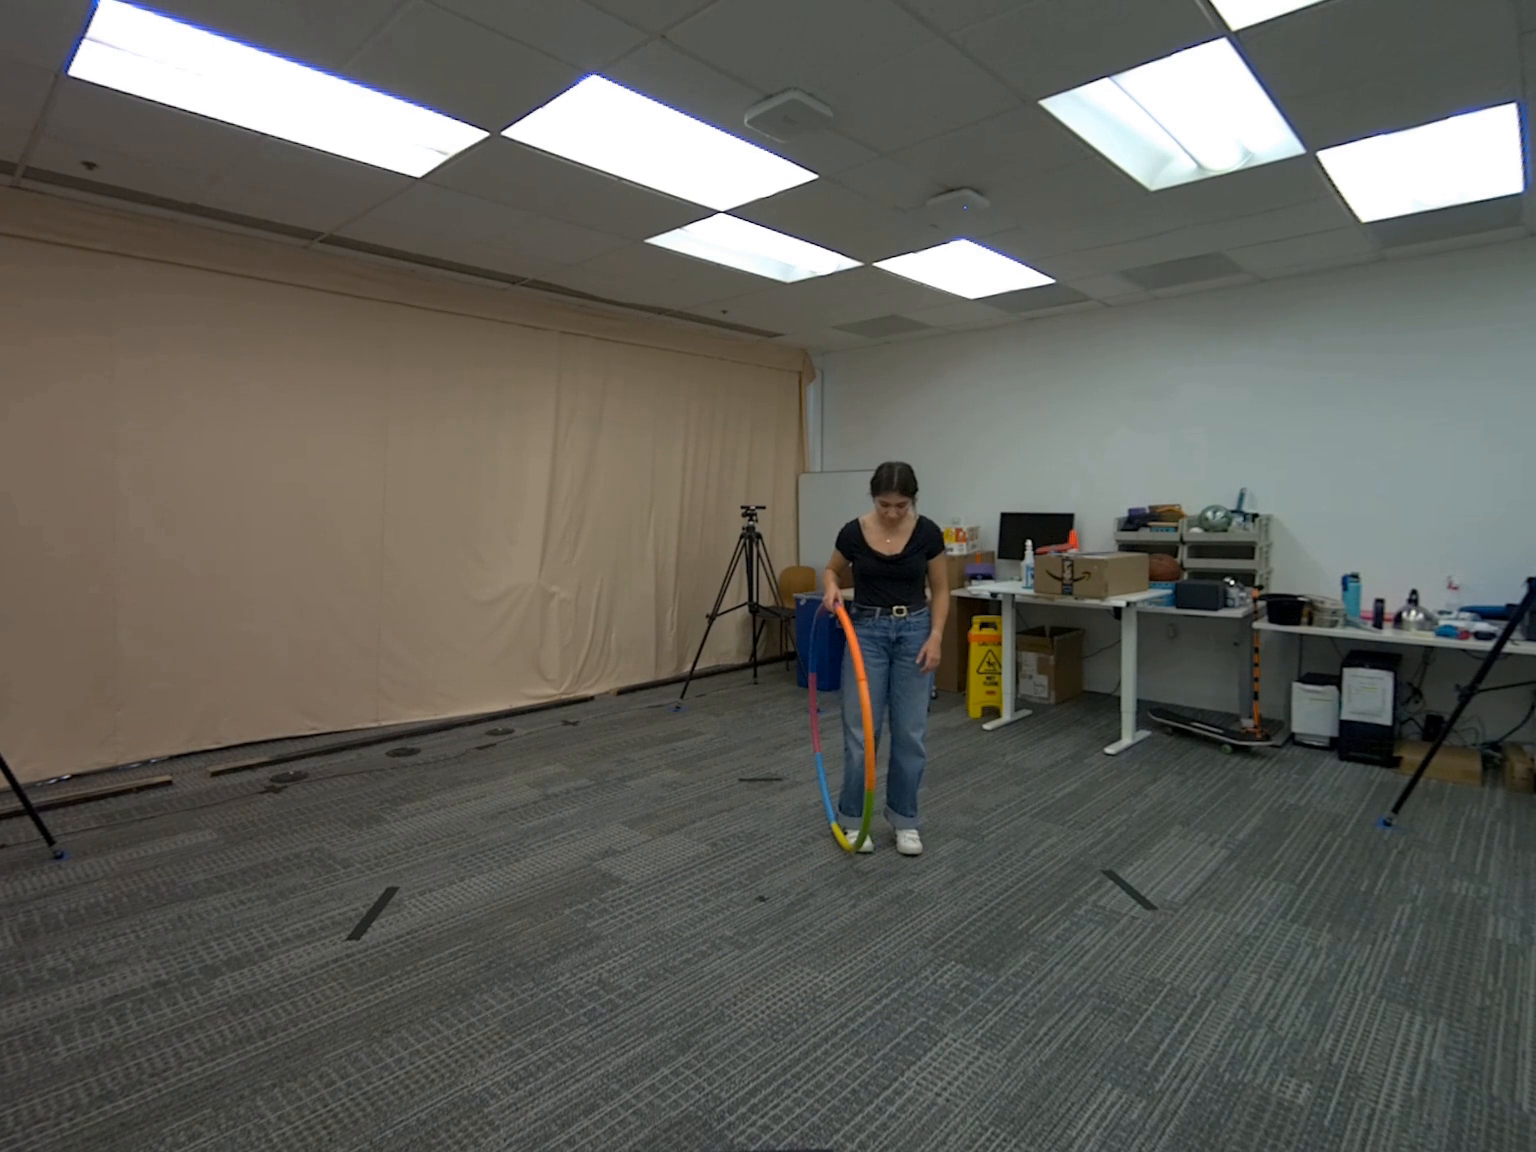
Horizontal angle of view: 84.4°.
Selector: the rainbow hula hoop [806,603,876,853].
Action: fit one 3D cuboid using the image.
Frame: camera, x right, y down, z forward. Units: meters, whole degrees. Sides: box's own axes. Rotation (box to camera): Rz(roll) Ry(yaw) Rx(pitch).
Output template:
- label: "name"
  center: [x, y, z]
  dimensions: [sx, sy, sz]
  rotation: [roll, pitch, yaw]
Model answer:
- label: "rainbow hula hoop"
  center: [0.281, 0.590, 3.382]
  dimensions: [0.035, 0.976, 0.988]
  rotation: [-3, 4, -8]
